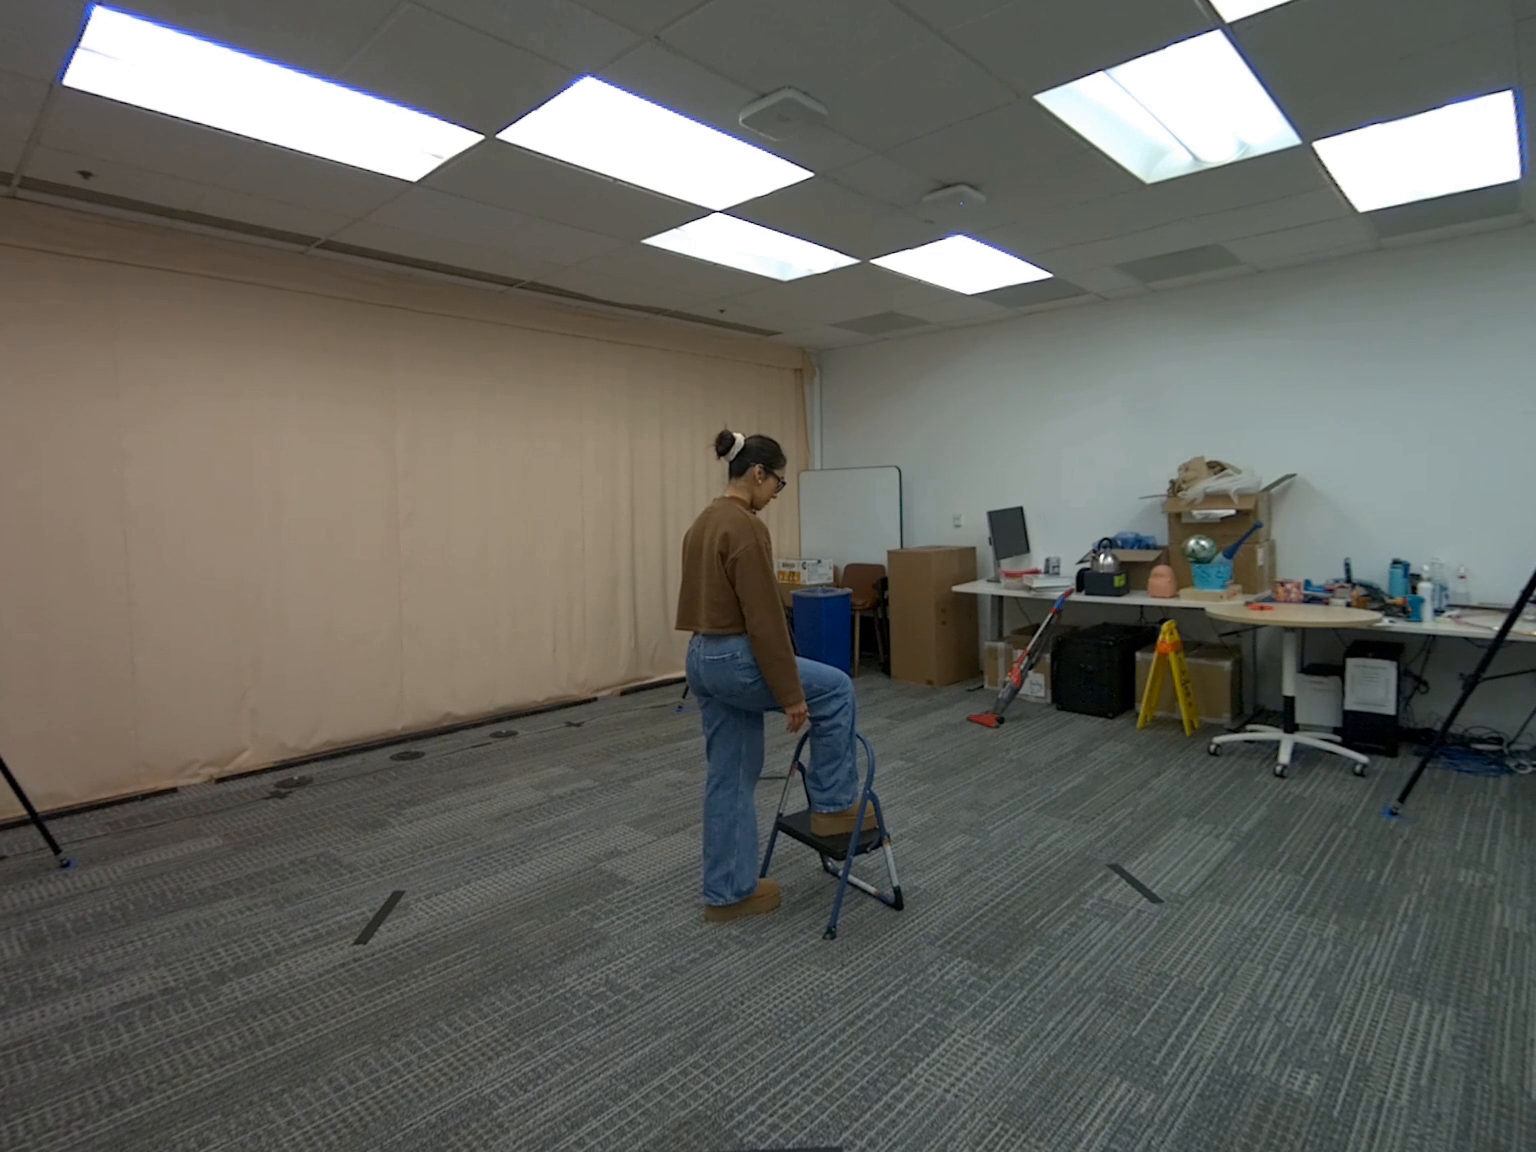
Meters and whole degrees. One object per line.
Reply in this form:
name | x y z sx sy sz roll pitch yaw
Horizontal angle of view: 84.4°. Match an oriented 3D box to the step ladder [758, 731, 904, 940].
step ladder | 0.209 0.836 2.939 0.339 0.605 0.444 -3 4 -35
